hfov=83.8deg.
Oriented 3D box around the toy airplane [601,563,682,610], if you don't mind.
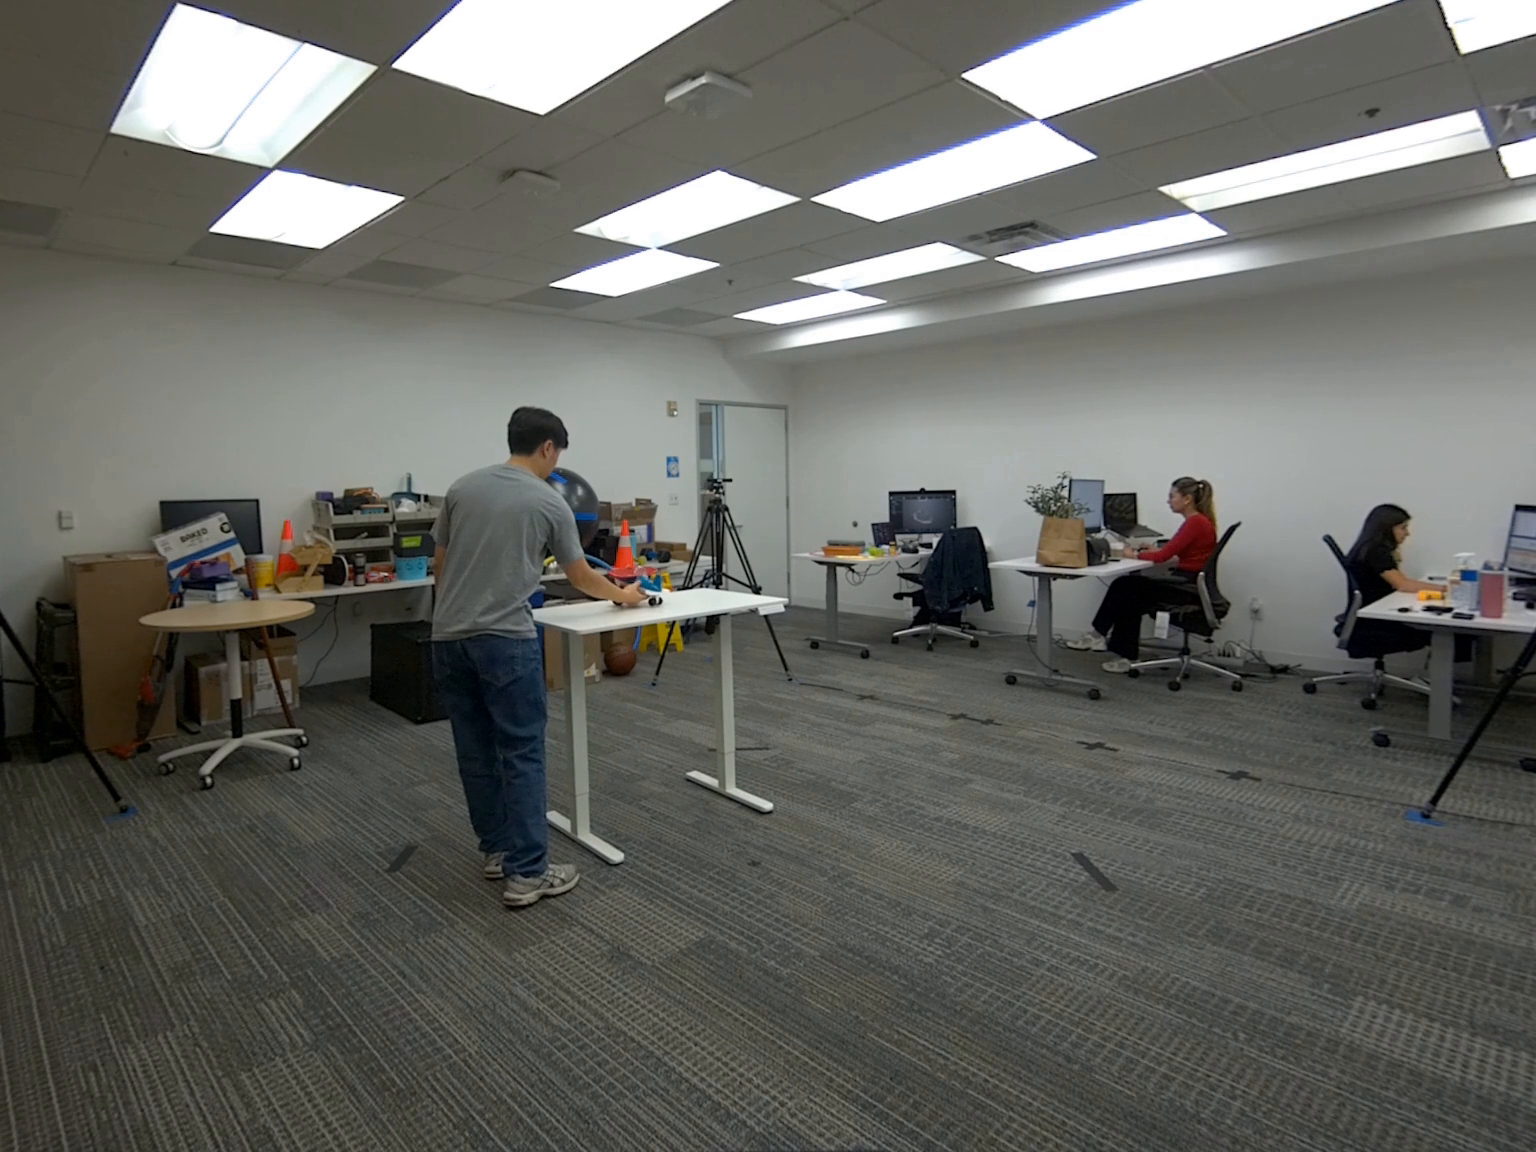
[{"bbox_3d":[-0.524,0.039,3.563,0.262,0.156,0.249,-3,4,11],"label":"toy airplane"}]
